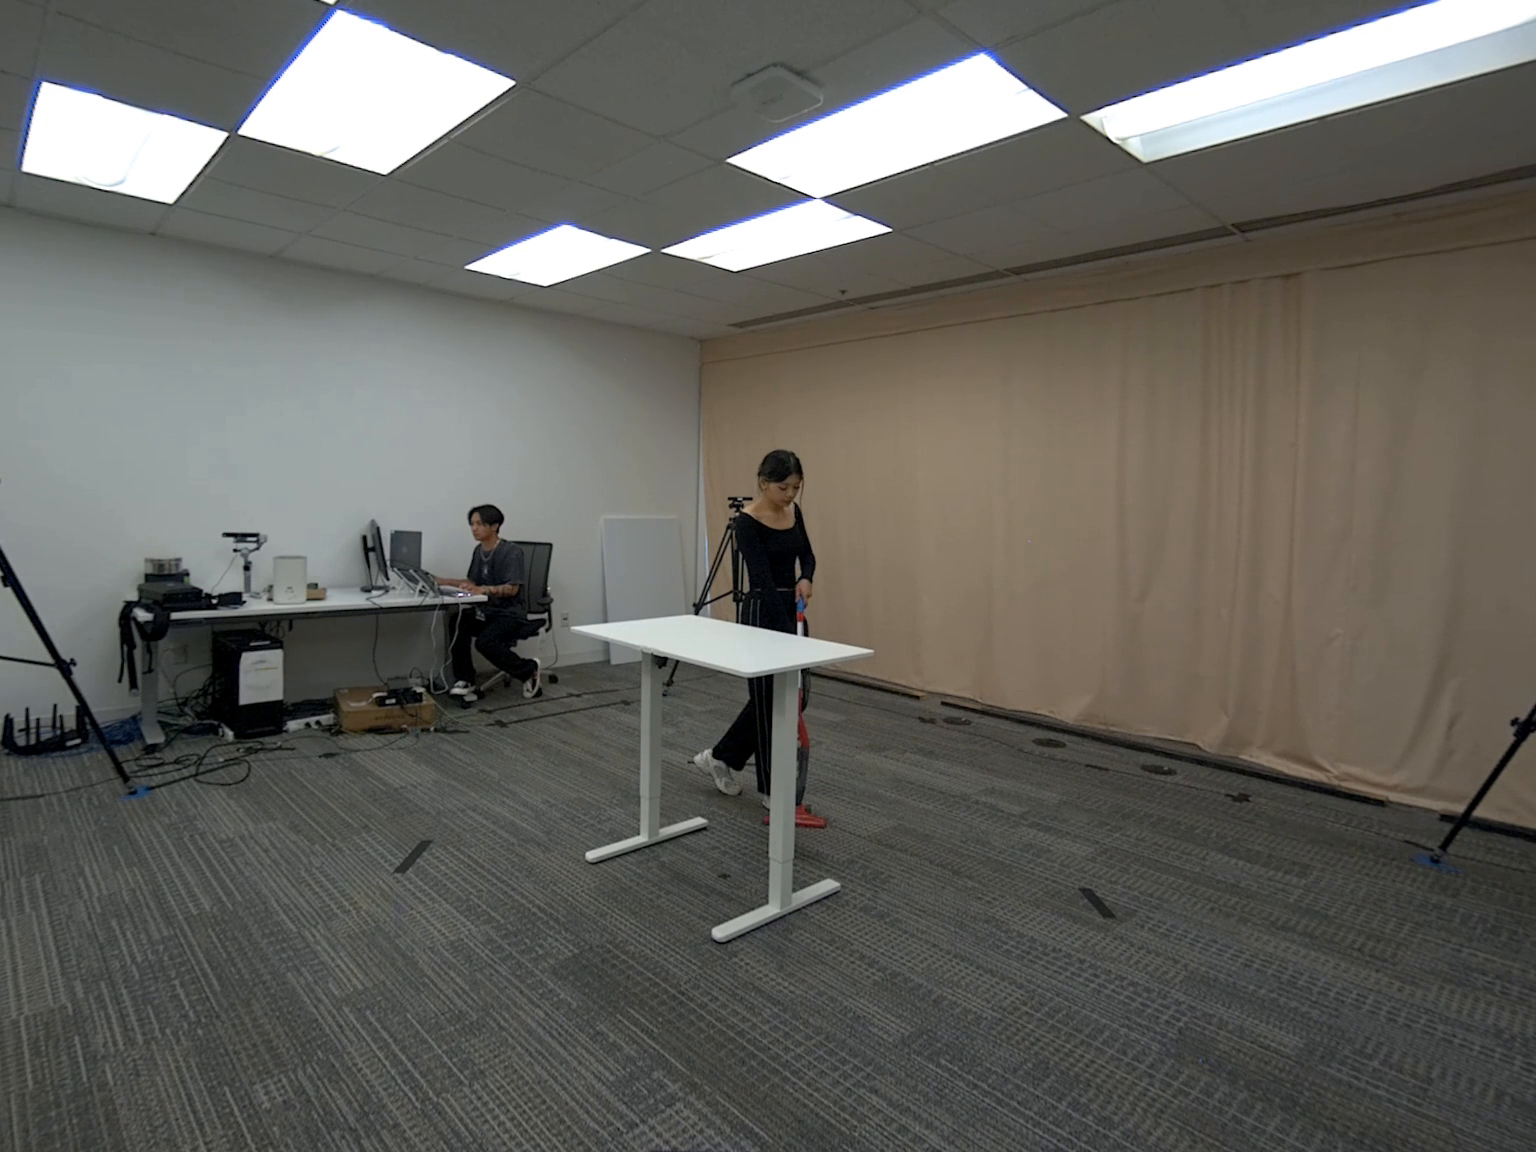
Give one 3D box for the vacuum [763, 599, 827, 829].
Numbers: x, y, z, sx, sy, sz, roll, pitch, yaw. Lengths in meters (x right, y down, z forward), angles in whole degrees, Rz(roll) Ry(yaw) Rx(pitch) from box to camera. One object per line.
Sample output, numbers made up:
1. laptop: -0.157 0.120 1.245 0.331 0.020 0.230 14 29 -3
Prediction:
1. vacuum: 0.125 0.506 3.563 0.254 1.066 0.141 1 -26 5
